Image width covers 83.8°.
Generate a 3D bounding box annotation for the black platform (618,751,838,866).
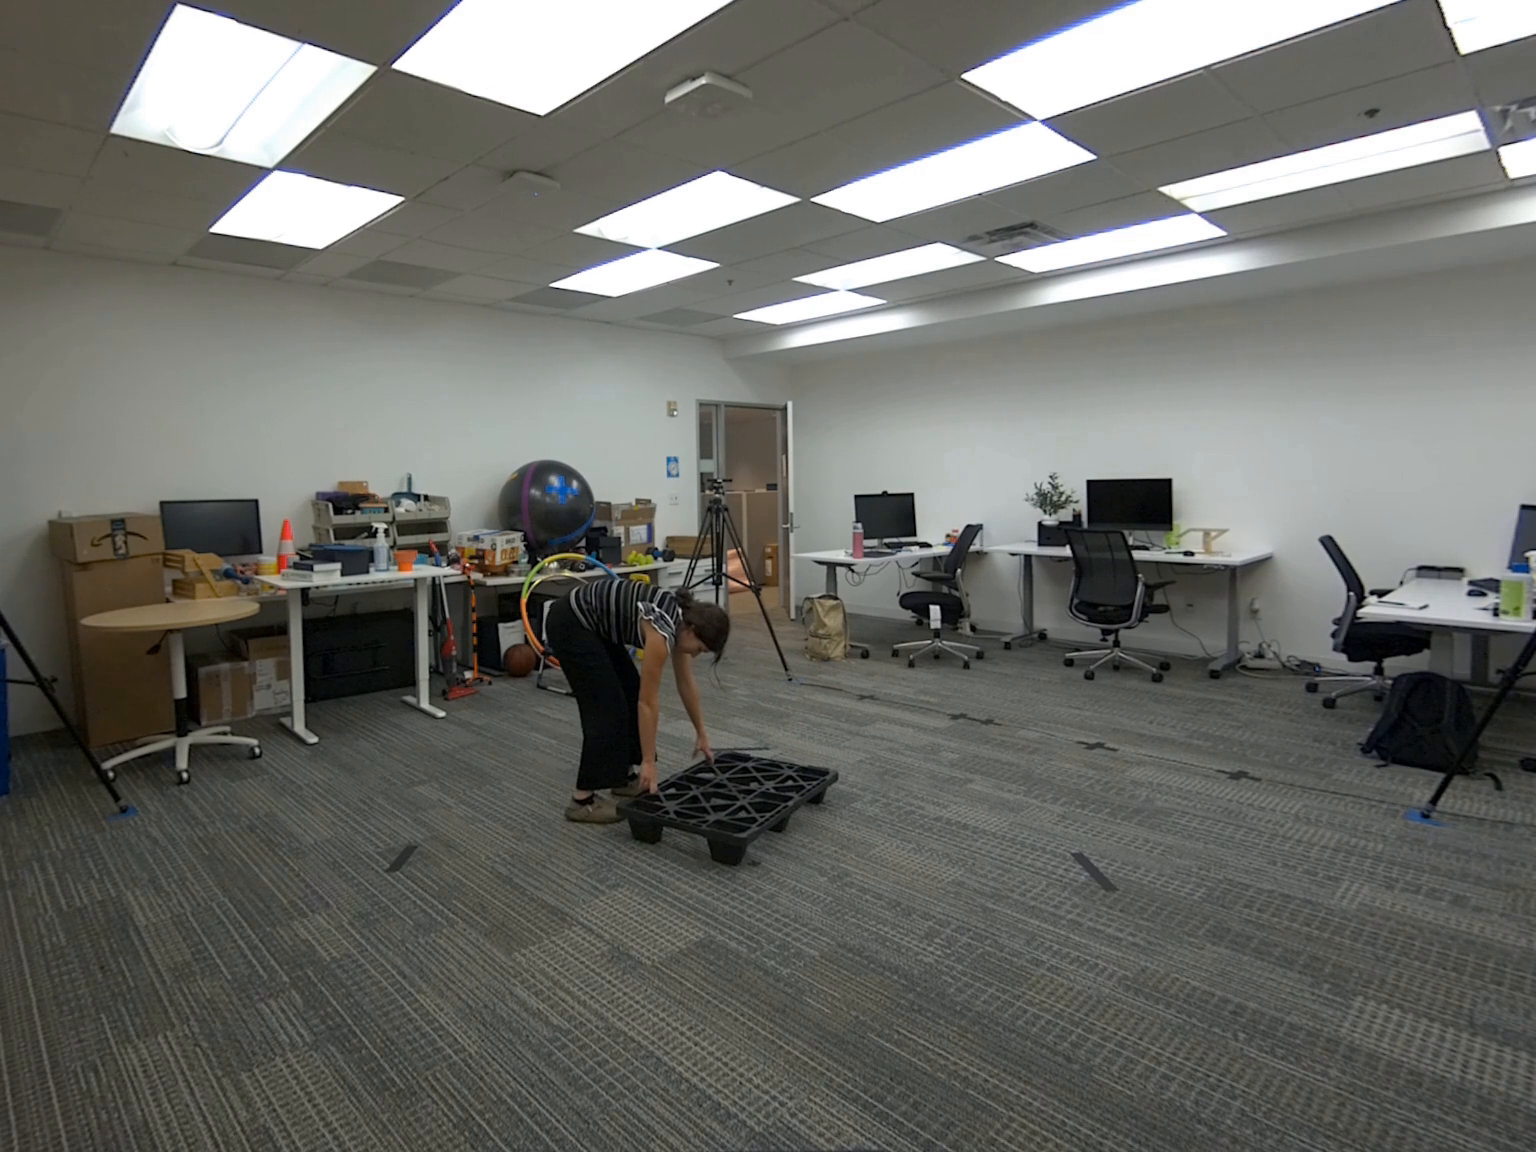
[{"bbox_3d":[-0.140,0.933,3.507,0.621,0.142,0.788,3,8,30],"label":"black platform"}]
